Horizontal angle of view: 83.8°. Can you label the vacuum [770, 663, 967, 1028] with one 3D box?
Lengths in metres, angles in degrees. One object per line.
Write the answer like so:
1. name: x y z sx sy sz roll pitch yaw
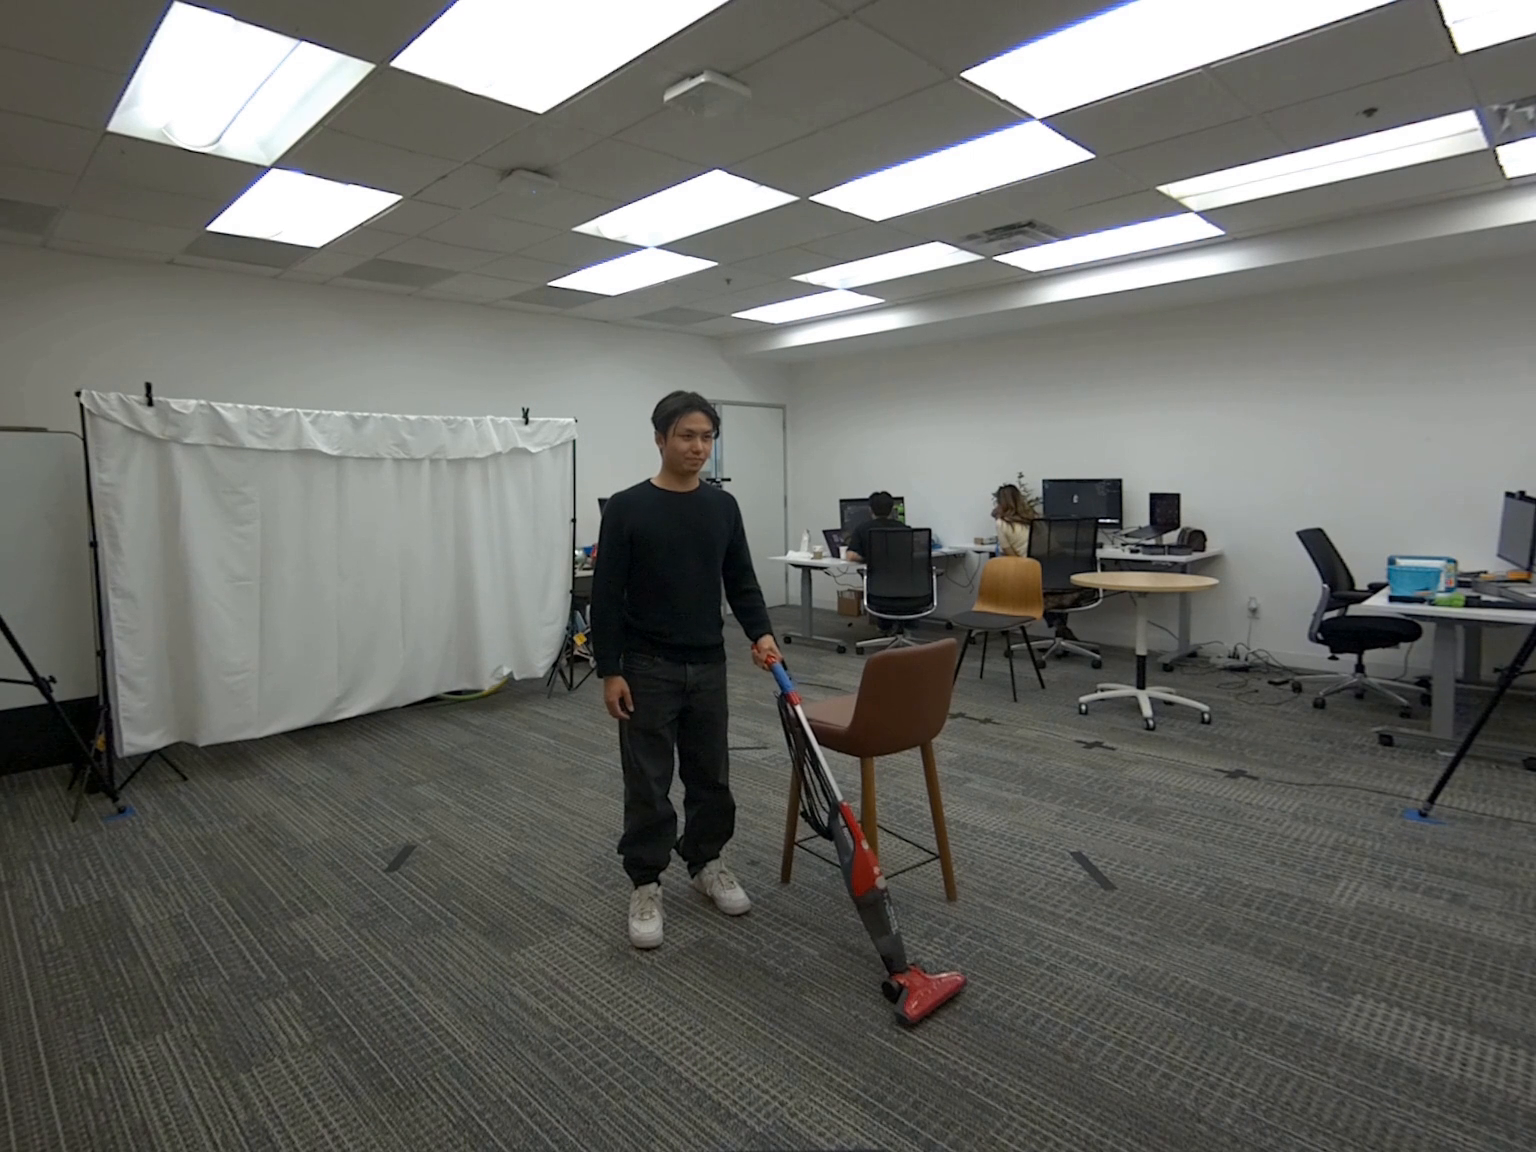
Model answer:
1. vacuum: 0.196 0.669 2.459 0.246 1.076 0.144 -6 -29 -41
